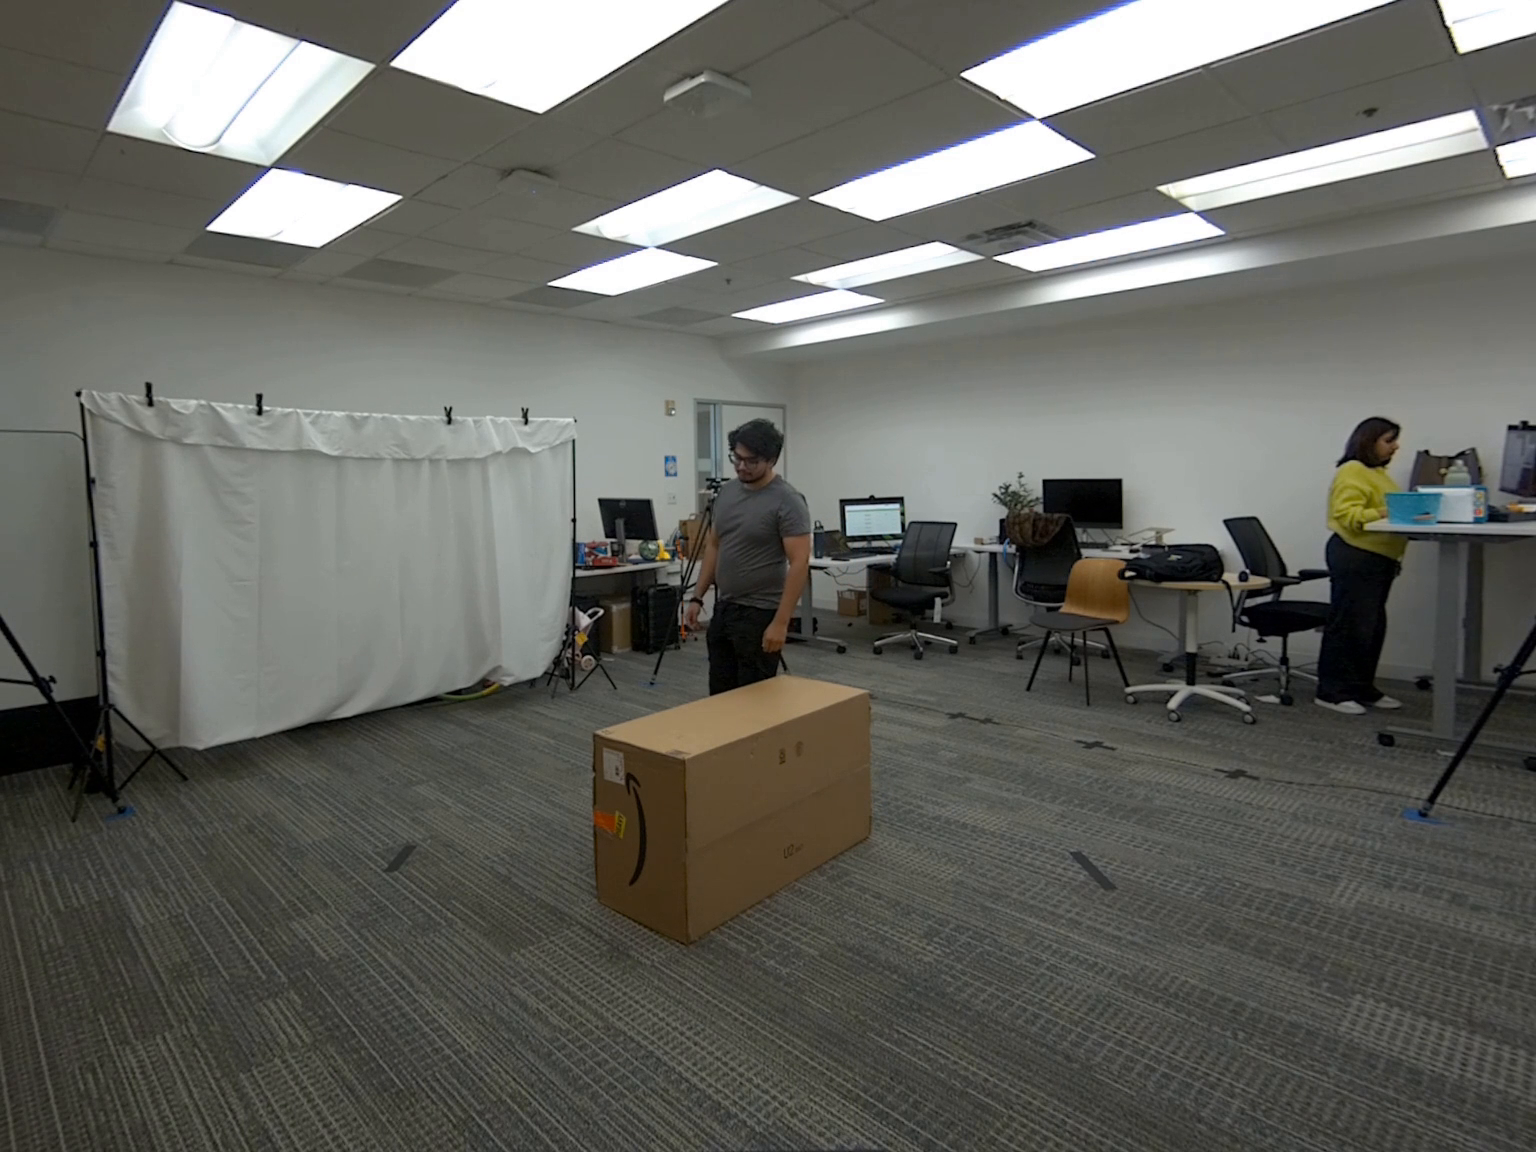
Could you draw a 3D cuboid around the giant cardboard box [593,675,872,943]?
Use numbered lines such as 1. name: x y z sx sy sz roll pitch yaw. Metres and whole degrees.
1. giant cardboard box: -0.093 0.759 3.058 0.439 0.575 1.000 2 7 41
